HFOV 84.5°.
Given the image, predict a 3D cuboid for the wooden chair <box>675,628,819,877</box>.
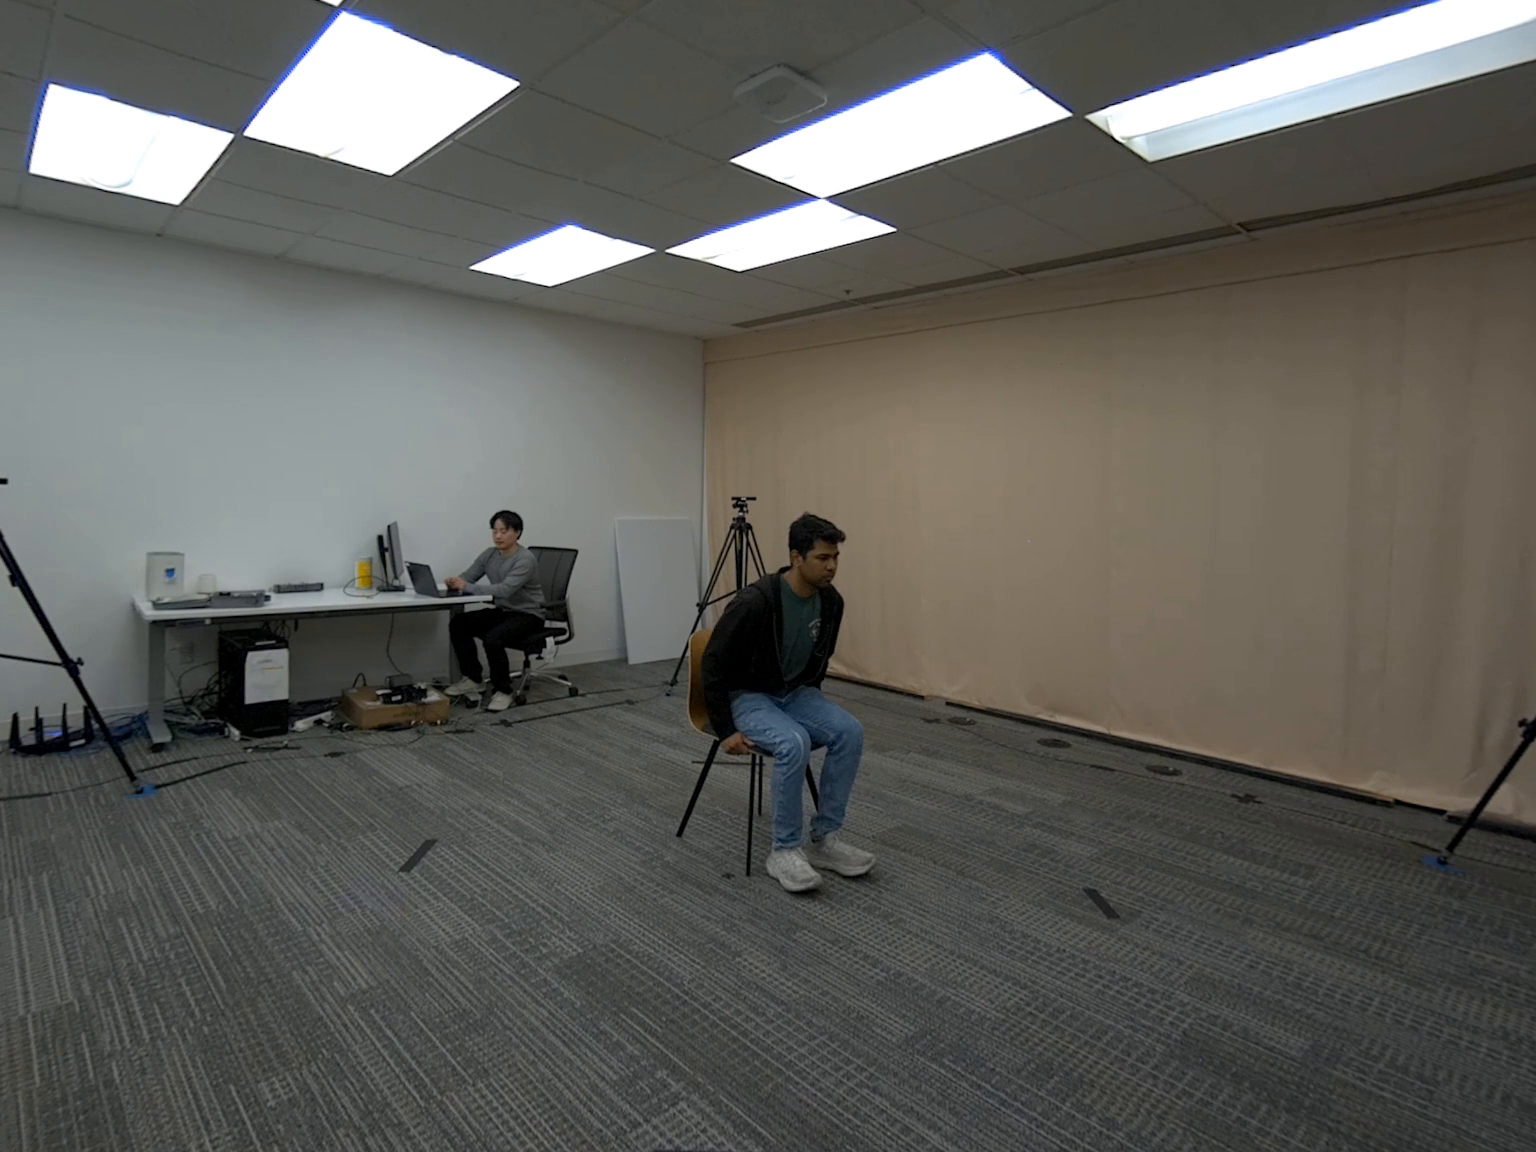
[{"bbox_3d":[-0.044,0.658,3.382,0.467,0.877,0.535,-1,1,-40],"label":"wooden chair"}]
